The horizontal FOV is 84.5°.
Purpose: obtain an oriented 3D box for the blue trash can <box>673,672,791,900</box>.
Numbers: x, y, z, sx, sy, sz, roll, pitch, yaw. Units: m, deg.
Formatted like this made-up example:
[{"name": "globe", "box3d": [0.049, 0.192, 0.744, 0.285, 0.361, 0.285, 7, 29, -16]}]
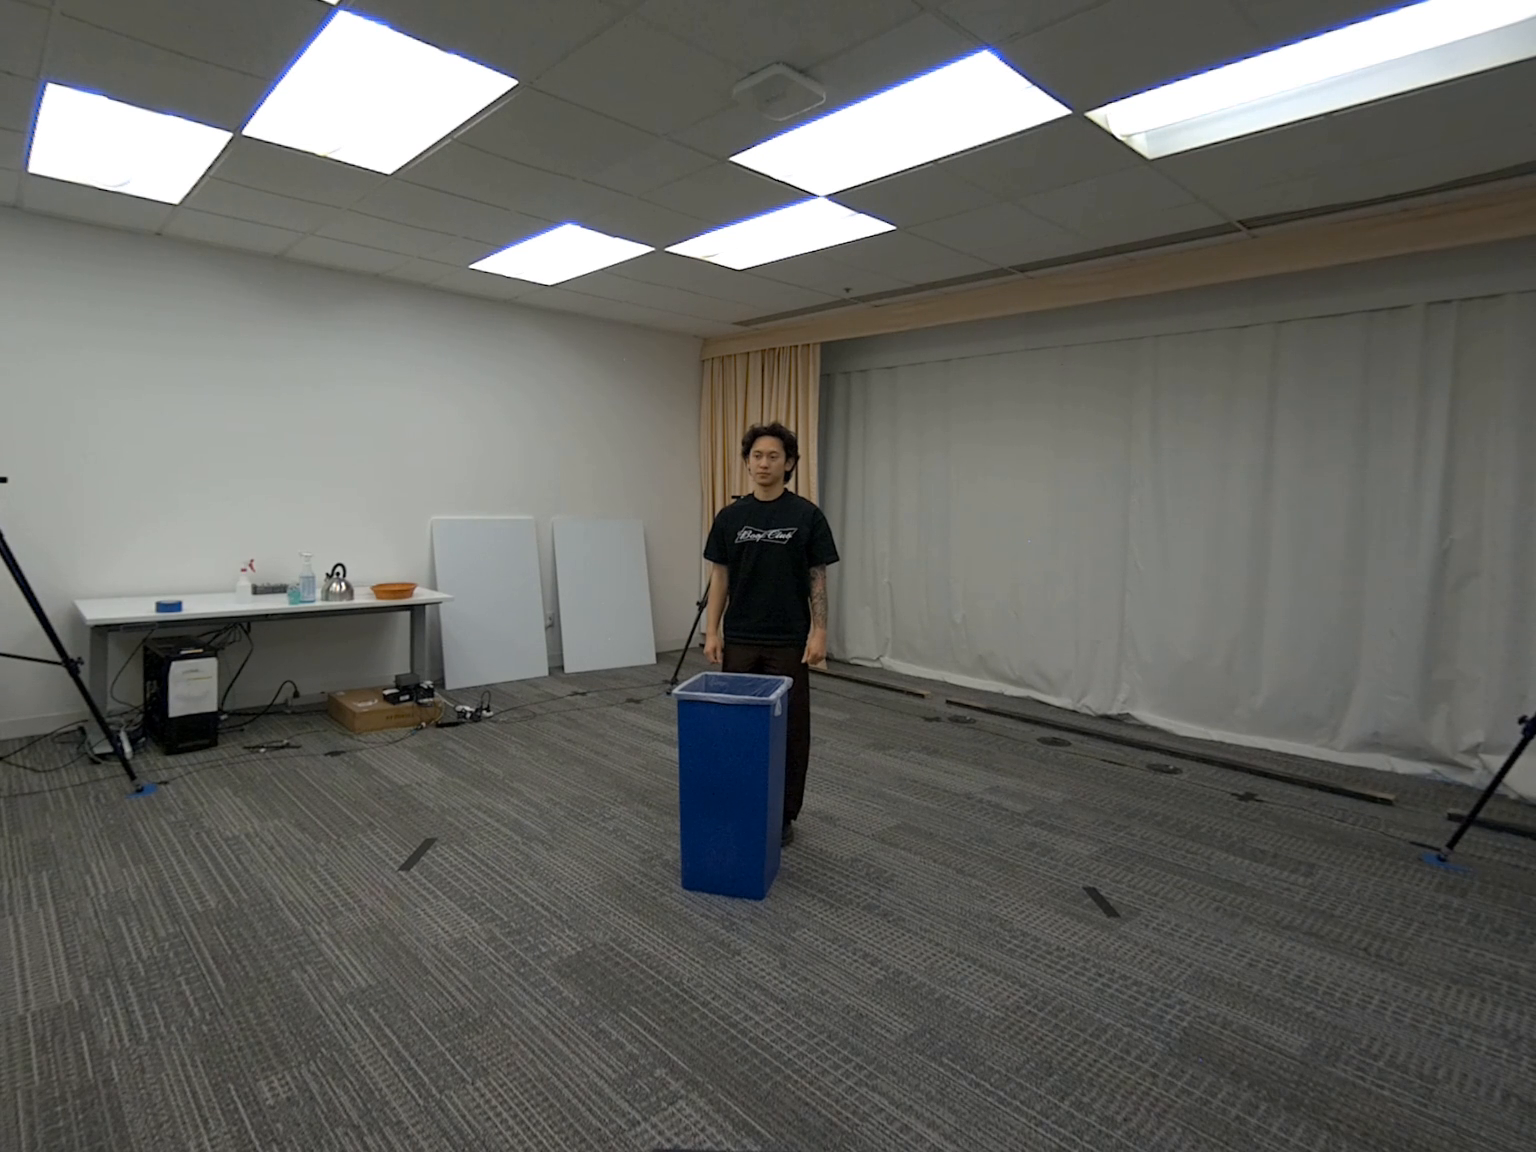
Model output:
[{"name": "blue trash can", "box3d": [-0.138, 0.746, 3.065, 0.378, 0.712, 0.374, 2, 4, 14]}]
